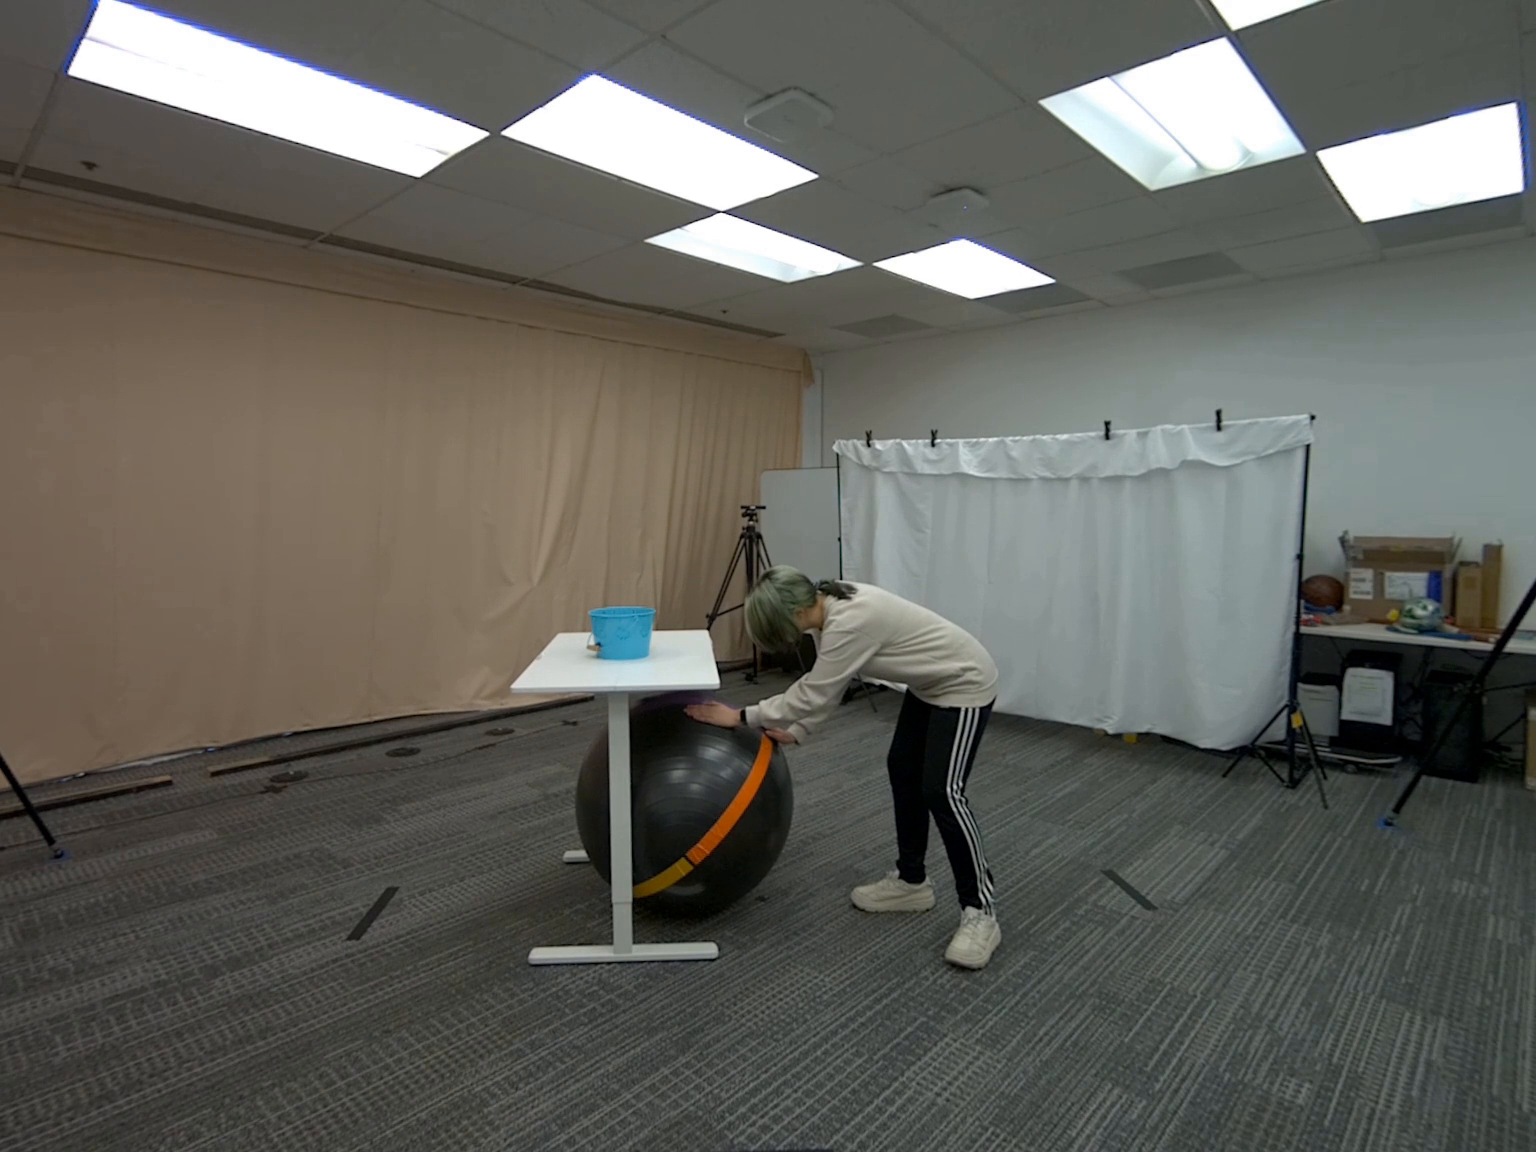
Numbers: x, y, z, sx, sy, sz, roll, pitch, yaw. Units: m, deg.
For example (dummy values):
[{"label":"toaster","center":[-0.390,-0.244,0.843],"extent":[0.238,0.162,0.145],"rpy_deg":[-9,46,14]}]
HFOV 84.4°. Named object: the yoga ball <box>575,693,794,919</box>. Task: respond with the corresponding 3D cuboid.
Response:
[{"label":"yoga ball","center":[-0.287,0.780,2.947],"extent":[0.757,0.756,0.760],"rpy_deg":[0,4,-2]}]
